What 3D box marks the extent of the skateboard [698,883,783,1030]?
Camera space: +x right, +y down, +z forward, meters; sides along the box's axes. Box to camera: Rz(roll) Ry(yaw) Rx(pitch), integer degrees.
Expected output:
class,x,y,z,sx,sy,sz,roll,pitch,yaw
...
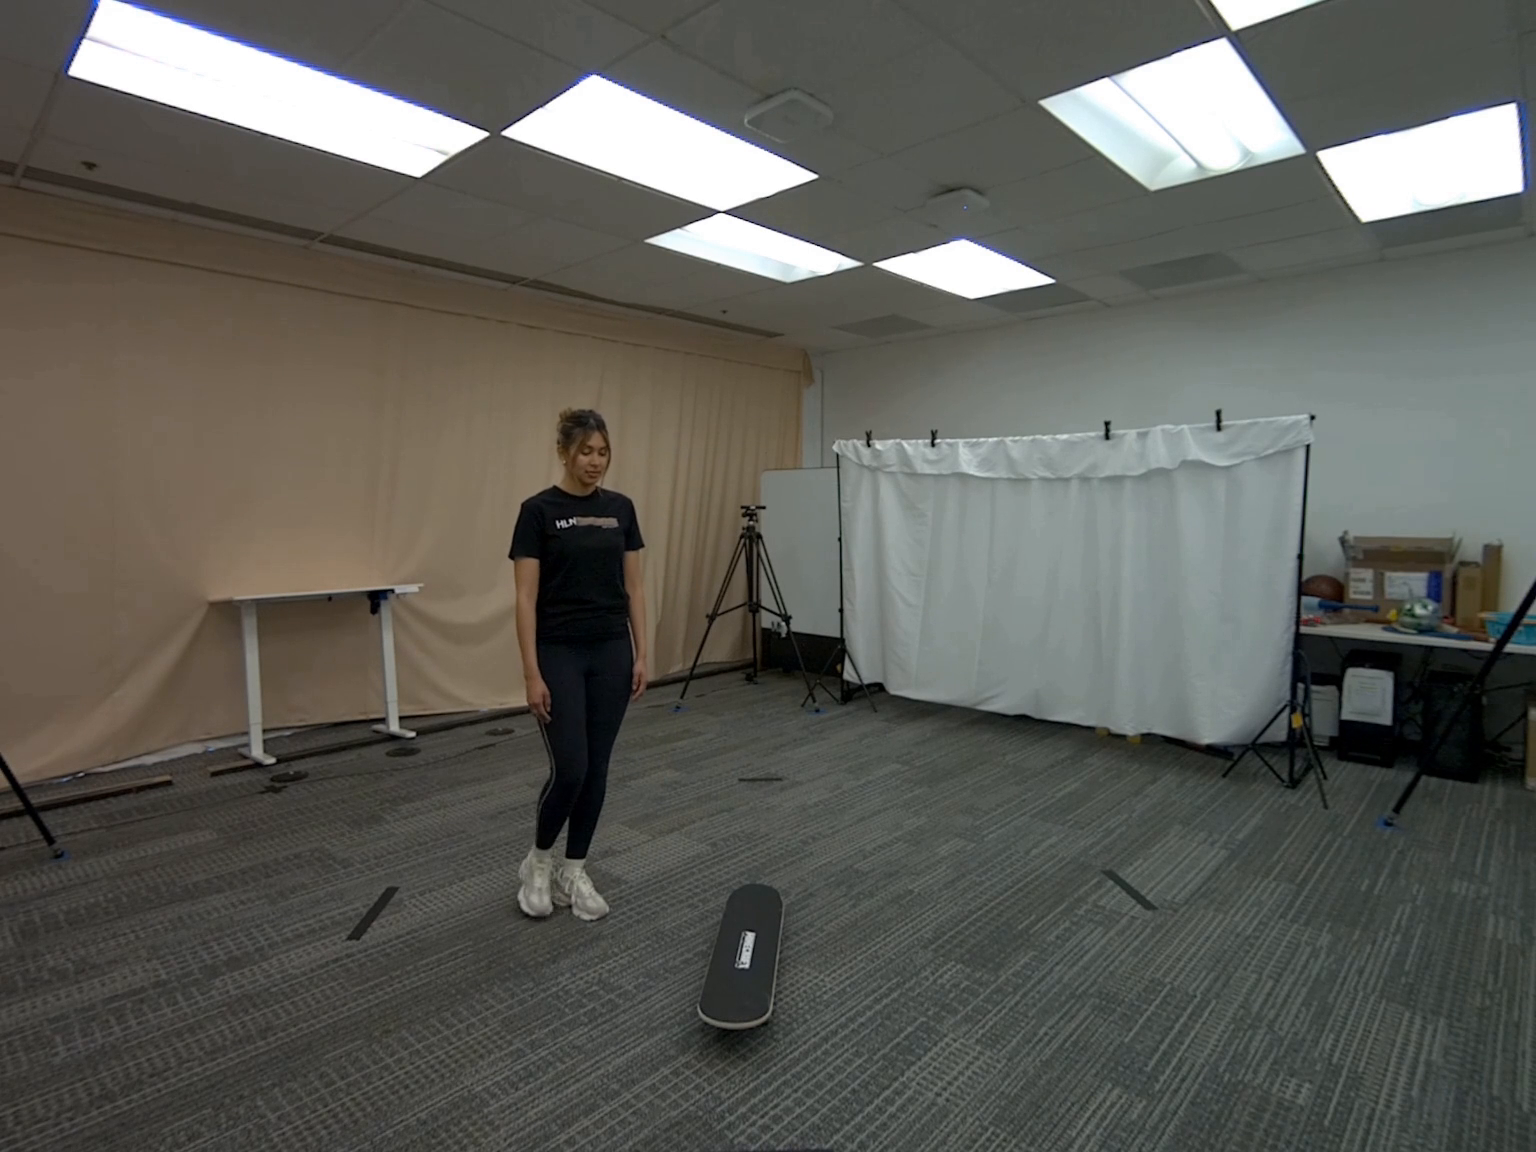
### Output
class,x,y,z,sx,sy,sz,roll,pitch,yaw
skateboard,-0.060,1.130,2.470,0.195,0.110,0.782,0,5,4
